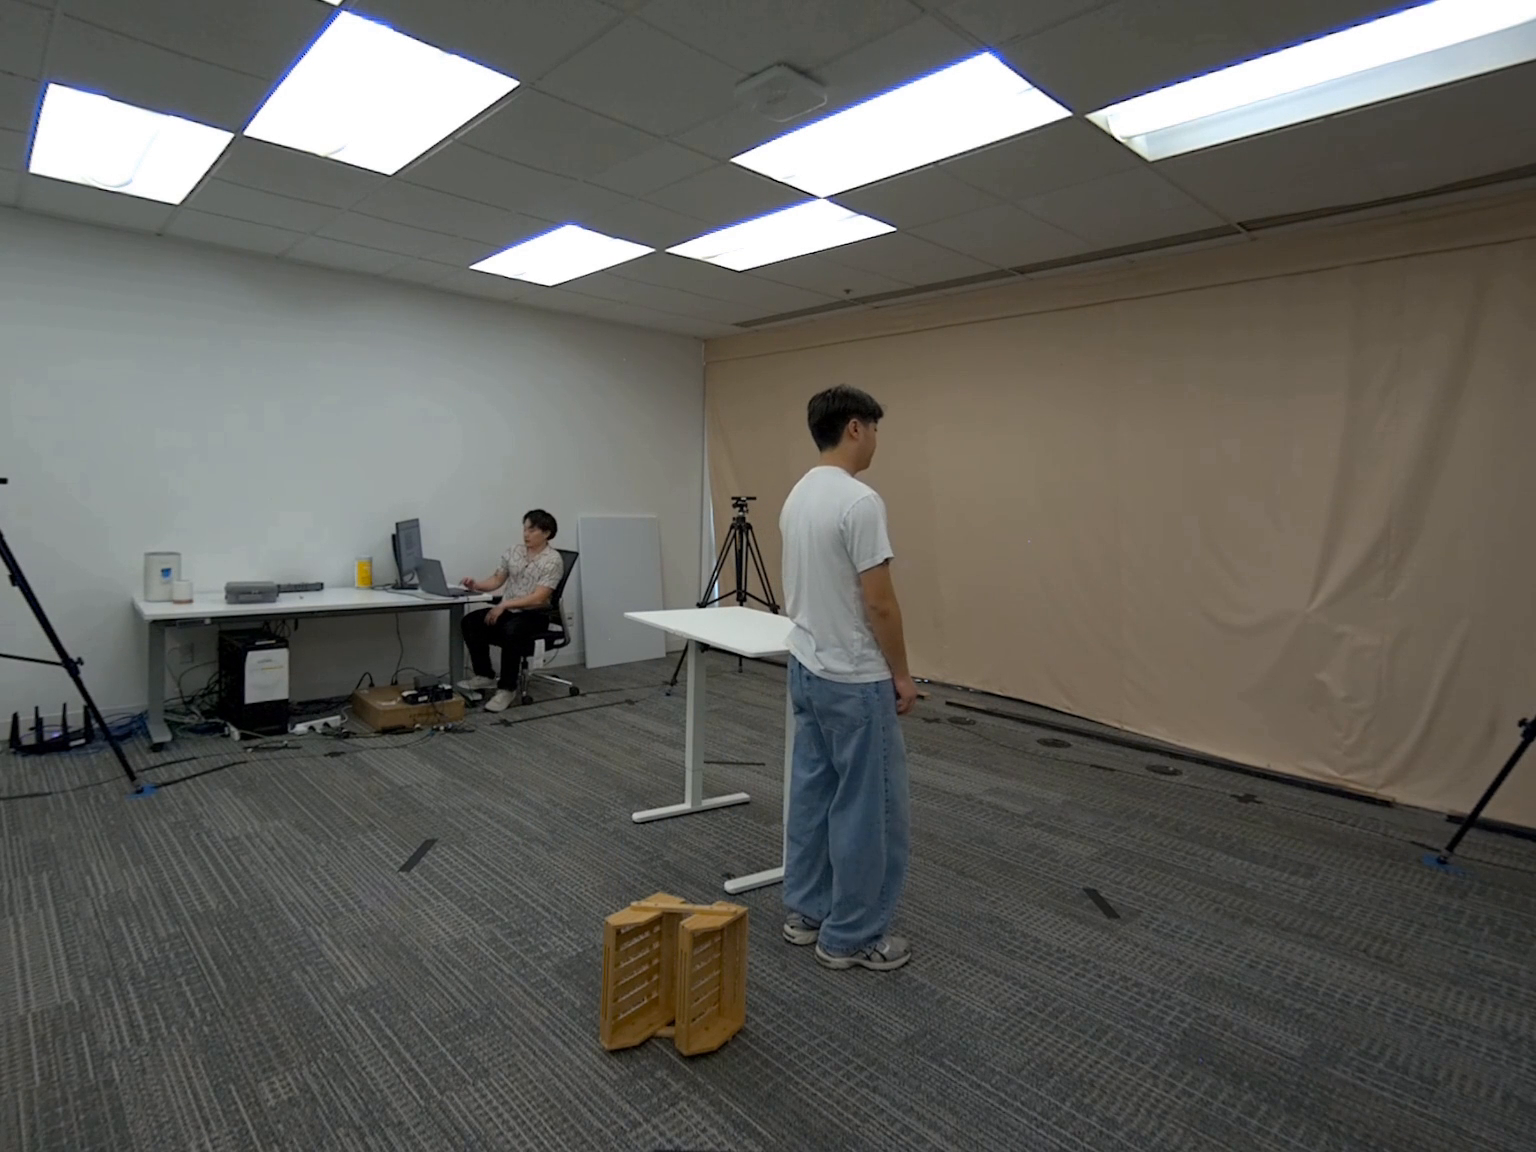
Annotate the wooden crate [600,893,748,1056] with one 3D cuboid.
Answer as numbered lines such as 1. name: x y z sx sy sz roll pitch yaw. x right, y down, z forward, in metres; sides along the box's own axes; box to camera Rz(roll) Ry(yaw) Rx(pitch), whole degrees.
1. wooden crate: -0.237 1.029 2.154 0.279 0.325 0.295 0 -1 29
